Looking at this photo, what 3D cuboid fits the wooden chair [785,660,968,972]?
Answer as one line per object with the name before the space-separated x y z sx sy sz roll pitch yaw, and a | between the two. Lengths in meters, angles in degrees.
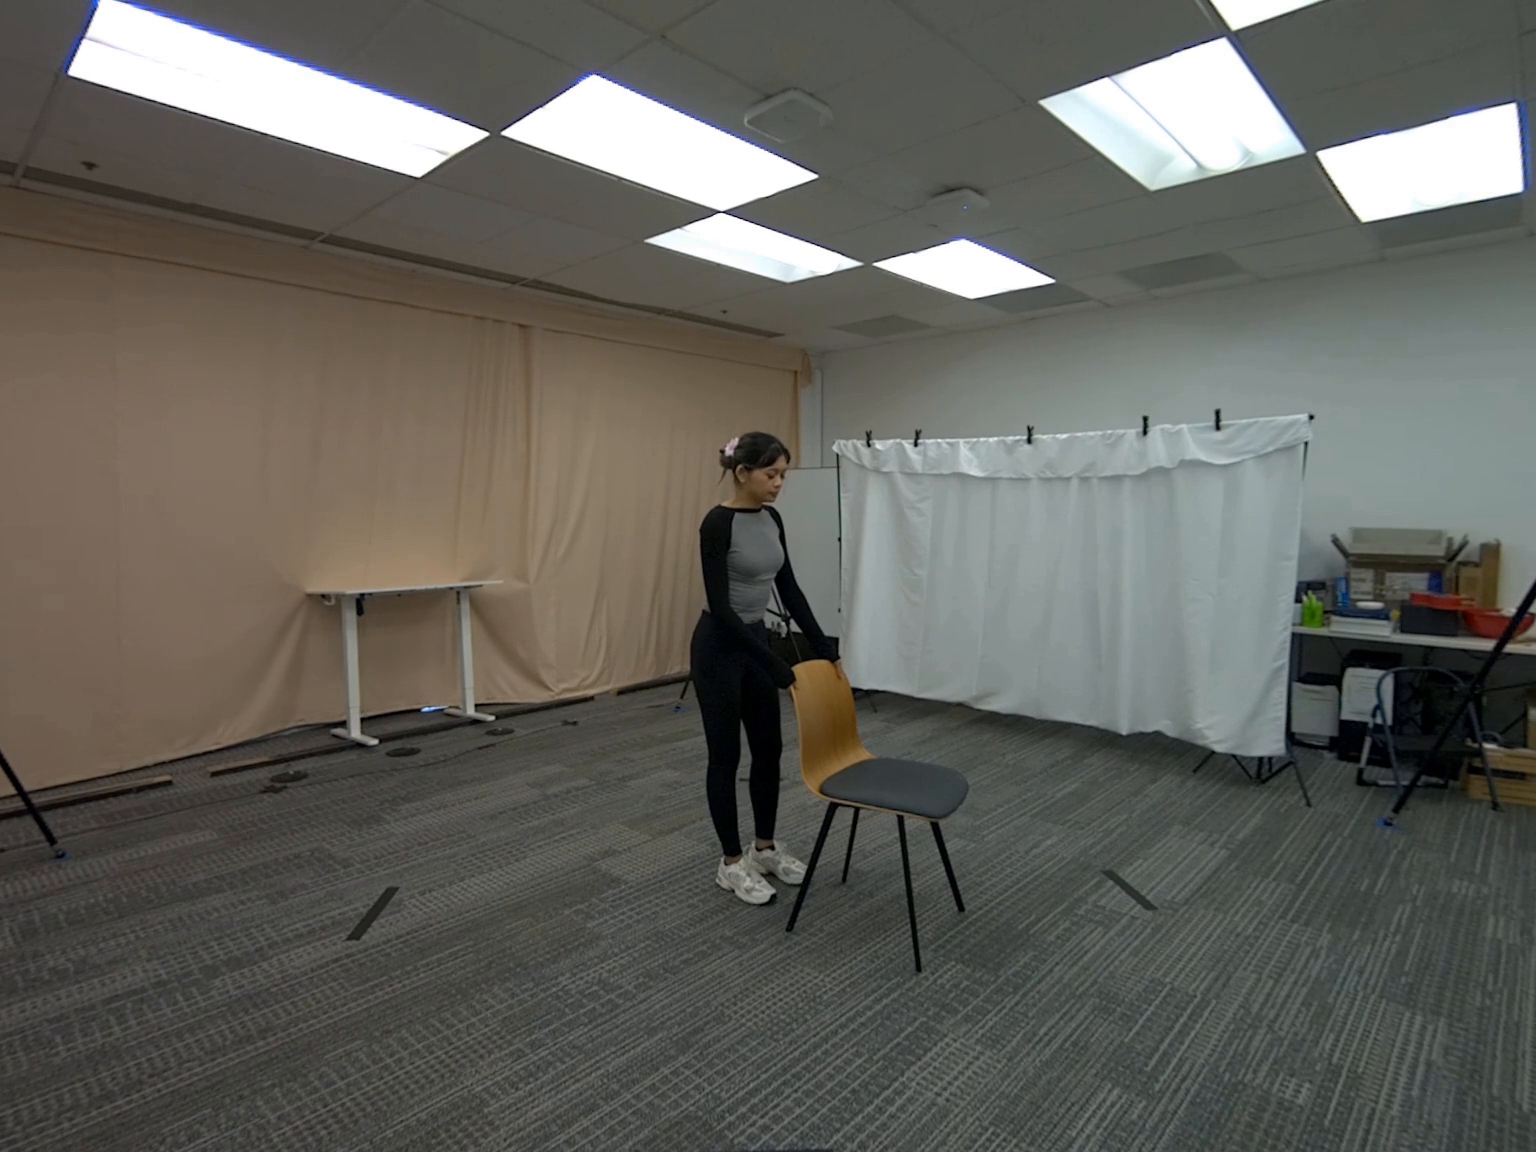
wooden chair | 0.376 0.730 2.787 0.538 0.877 0.465 -4 0 31
